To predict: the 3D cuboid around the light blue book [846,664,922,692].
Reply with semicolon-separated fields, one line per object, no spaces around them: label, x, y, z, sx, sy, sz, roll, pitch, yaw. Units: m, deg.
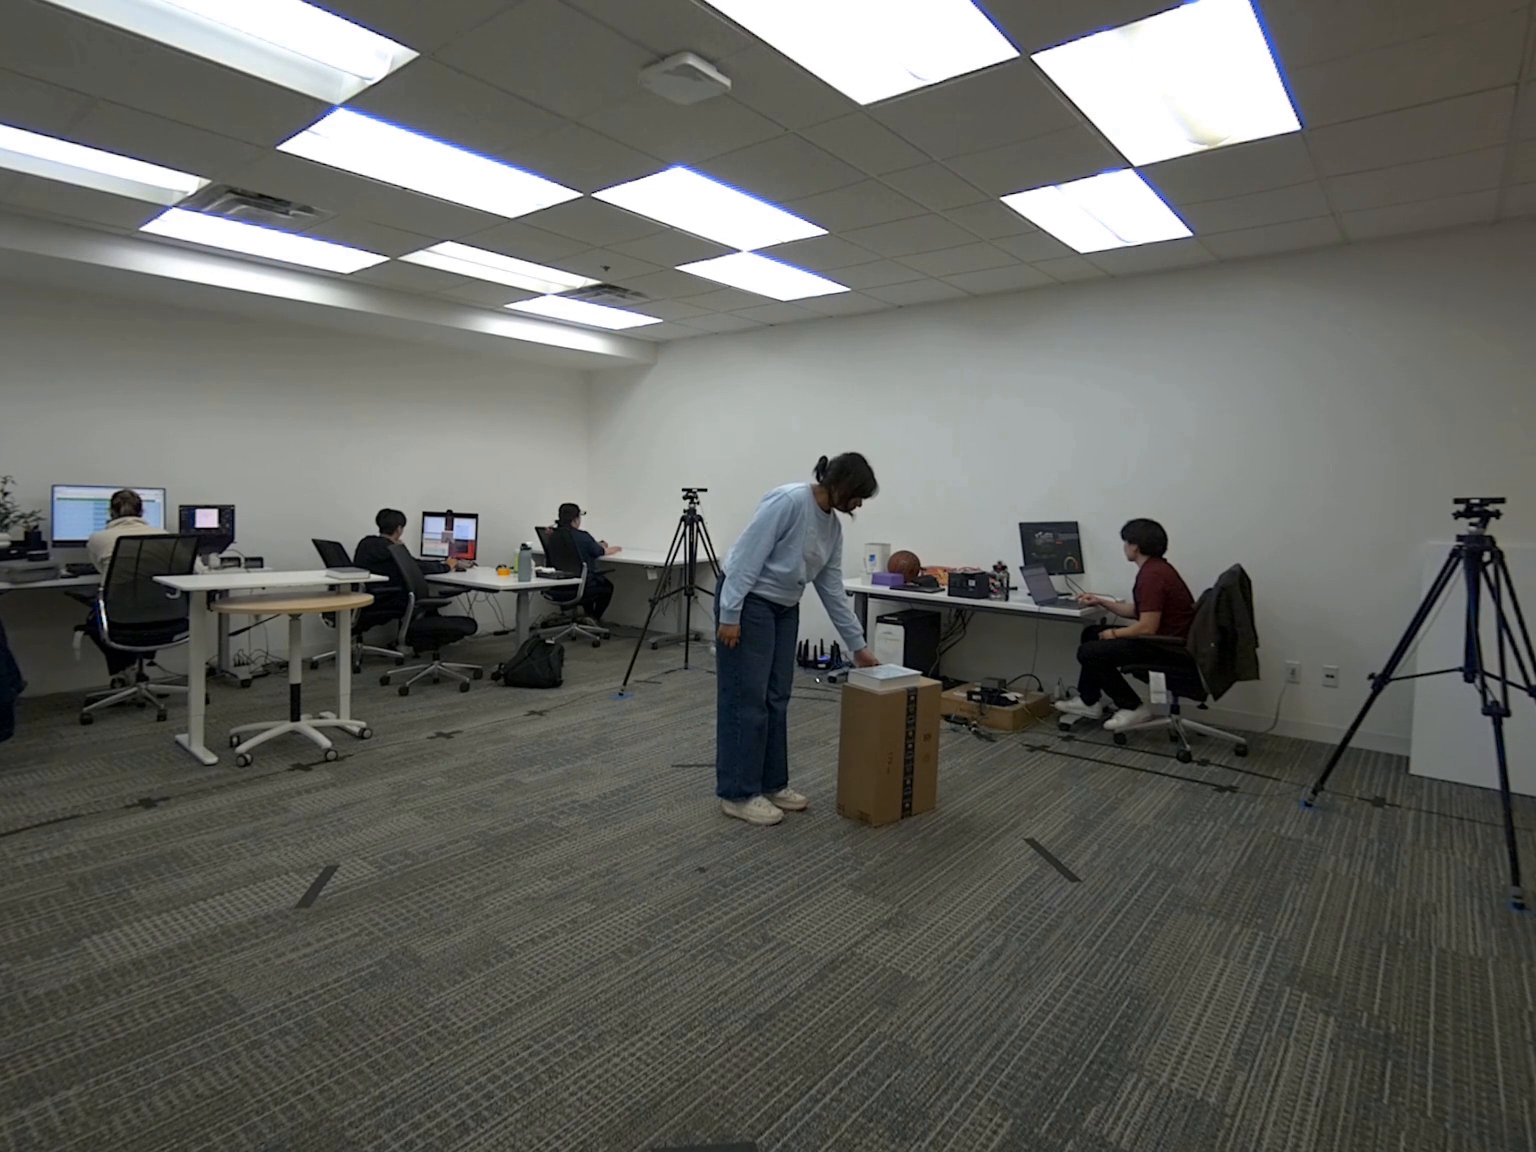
light blue book;0.498;0.436;3.674;0.253;0.059;0.198;-3;8;-38
